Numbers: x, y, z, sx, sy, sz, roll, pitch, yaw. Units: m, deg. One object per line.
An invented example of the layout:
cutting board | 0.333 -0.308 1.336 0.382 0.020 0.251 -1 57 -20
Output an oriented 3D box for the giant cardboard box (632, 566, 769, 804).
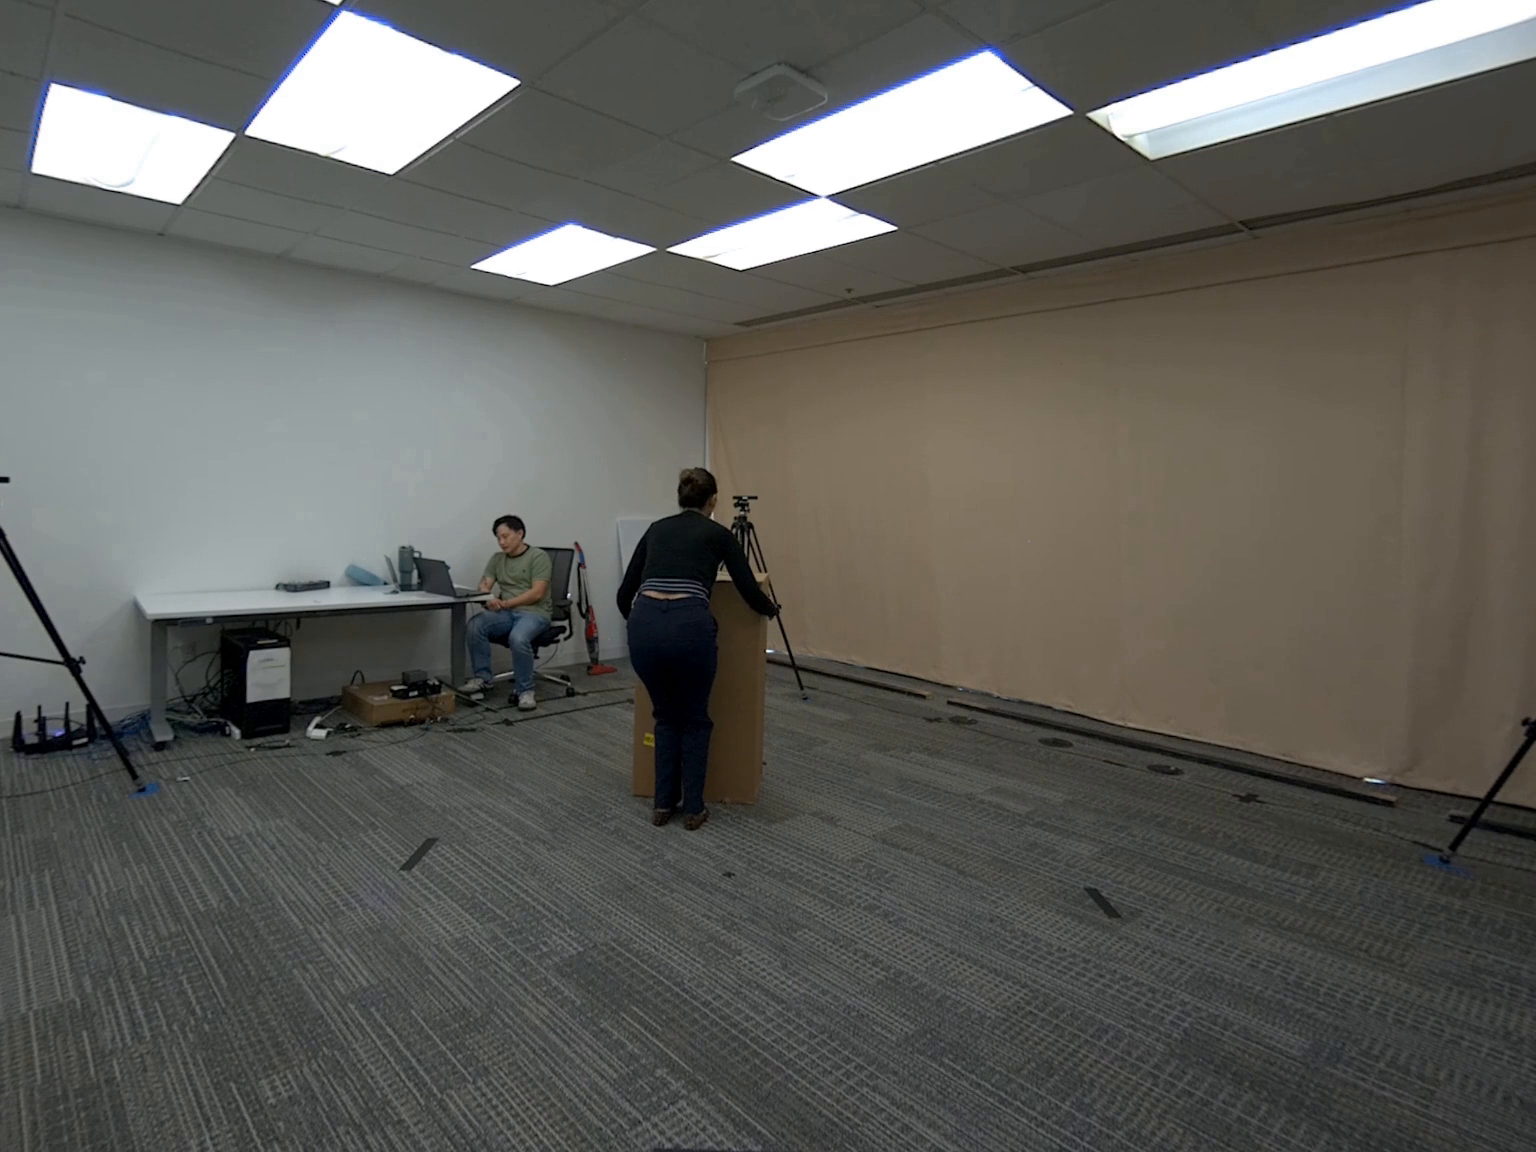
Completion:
giant cardboard box | -0.323 0.508 4.057 0.580 1.024 0.425 2 2 4
